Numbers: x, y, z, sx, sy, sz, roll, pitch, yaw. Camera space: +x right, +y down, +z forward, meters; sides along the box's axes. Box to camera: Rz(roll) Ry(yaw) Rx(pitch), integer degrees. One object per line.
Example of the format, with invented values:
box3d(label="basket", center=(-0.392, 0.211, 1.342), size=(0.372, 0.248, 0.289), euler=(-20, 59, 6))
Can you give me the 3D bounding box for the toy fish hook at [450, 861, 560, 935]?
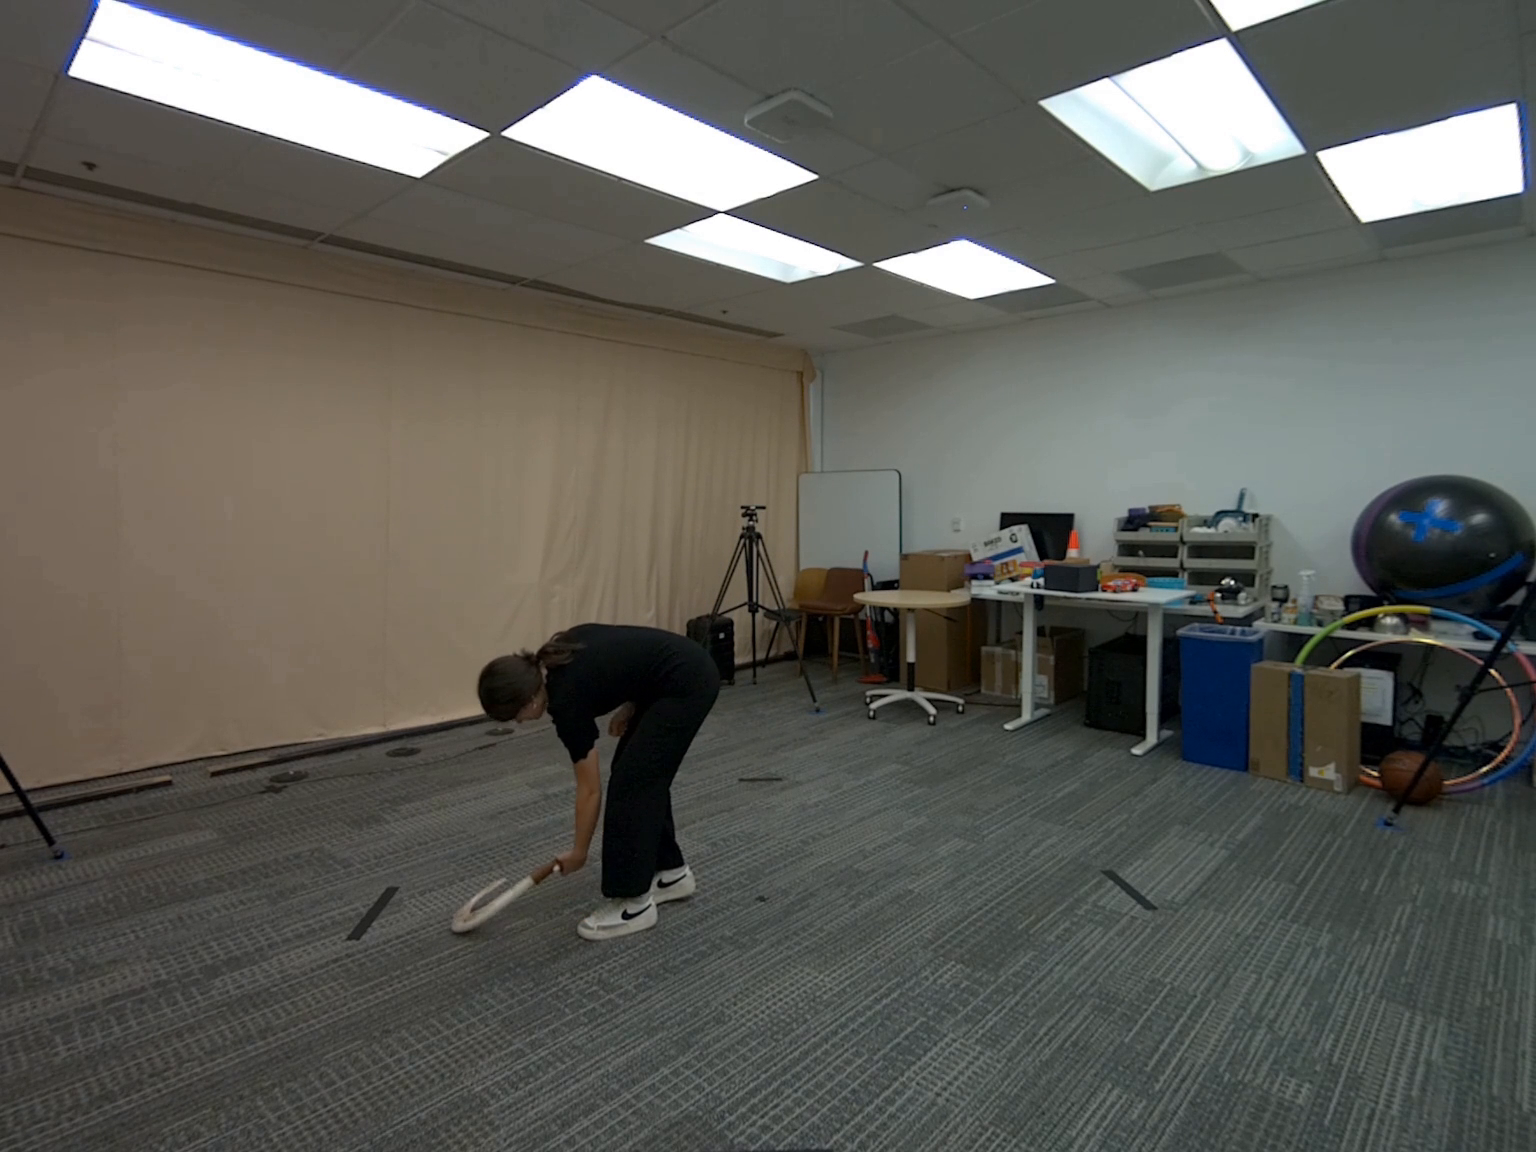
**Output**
box3d(label="toy fish hook", center=(-0.840, 1.032, 2.844), size=(0.504, 0.048, 0.229), euler=(-29, 14, -8))
